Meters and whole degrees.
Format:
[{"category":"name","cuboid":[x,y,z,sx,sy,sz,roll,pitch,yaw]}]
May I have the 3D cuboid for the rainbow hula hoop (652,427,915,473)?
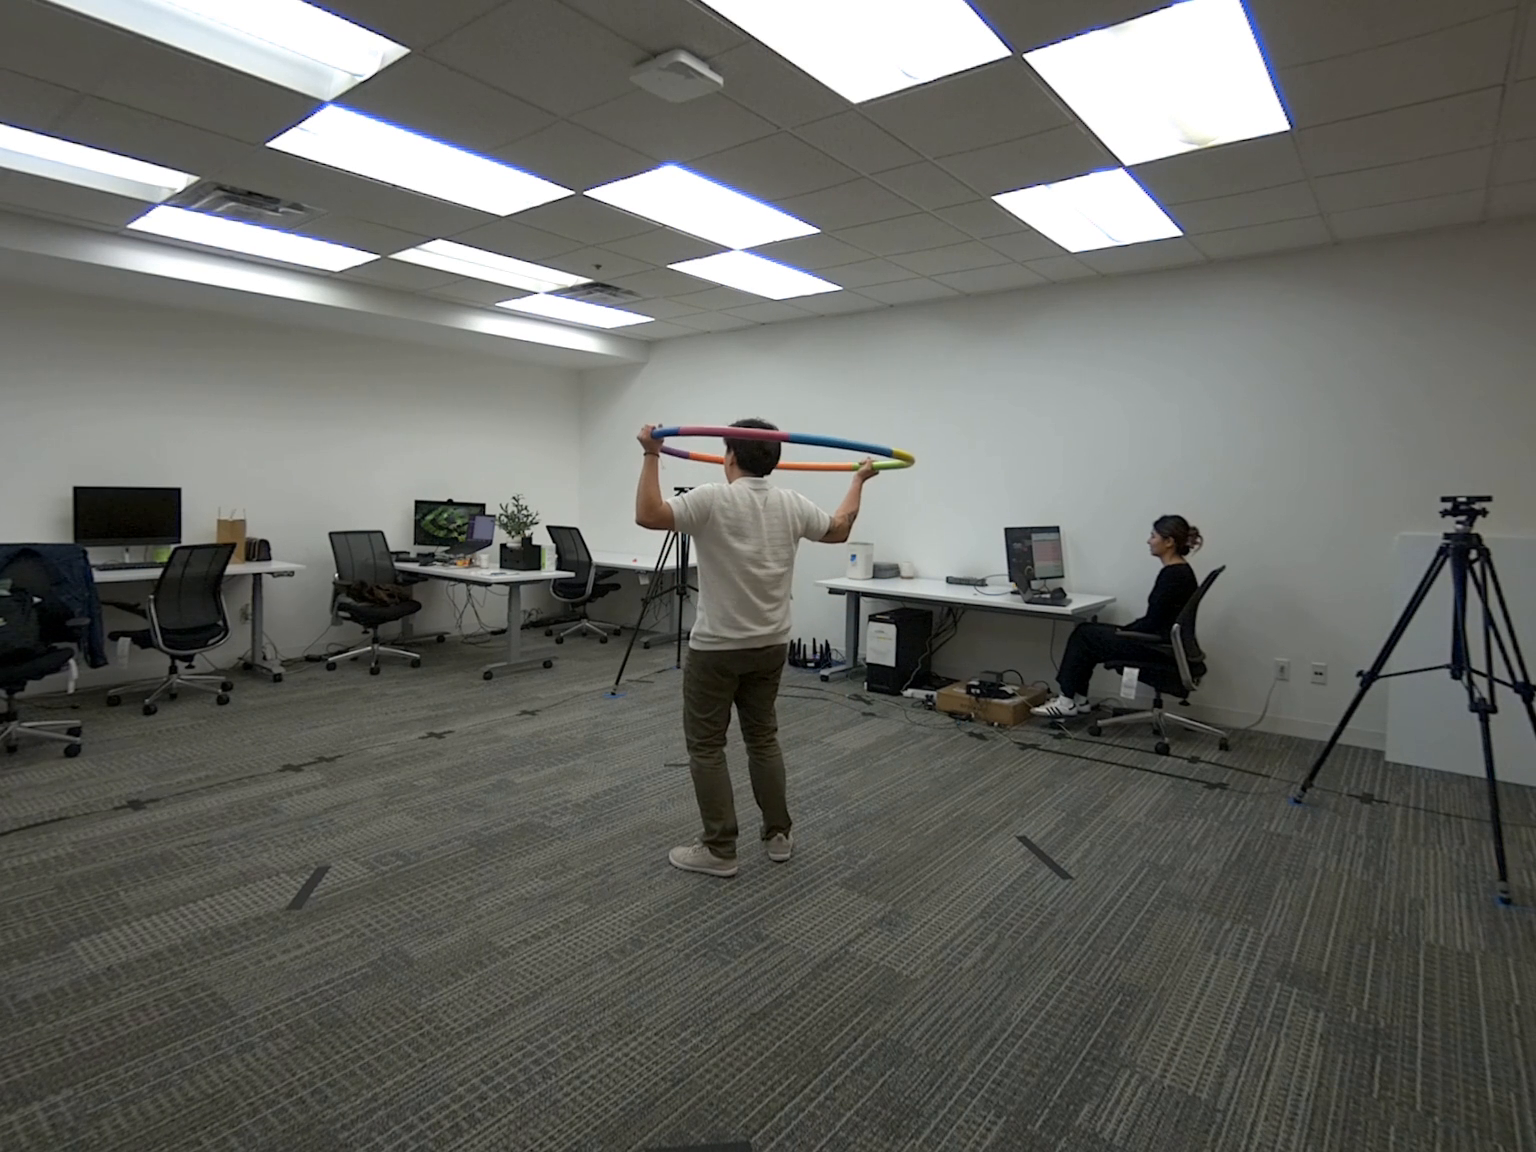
[{"category":"rainbow hula hoop","cuboid":[0.020,-0.453,3.077,0.978,0.035,0.980,5,2,-2]}]
